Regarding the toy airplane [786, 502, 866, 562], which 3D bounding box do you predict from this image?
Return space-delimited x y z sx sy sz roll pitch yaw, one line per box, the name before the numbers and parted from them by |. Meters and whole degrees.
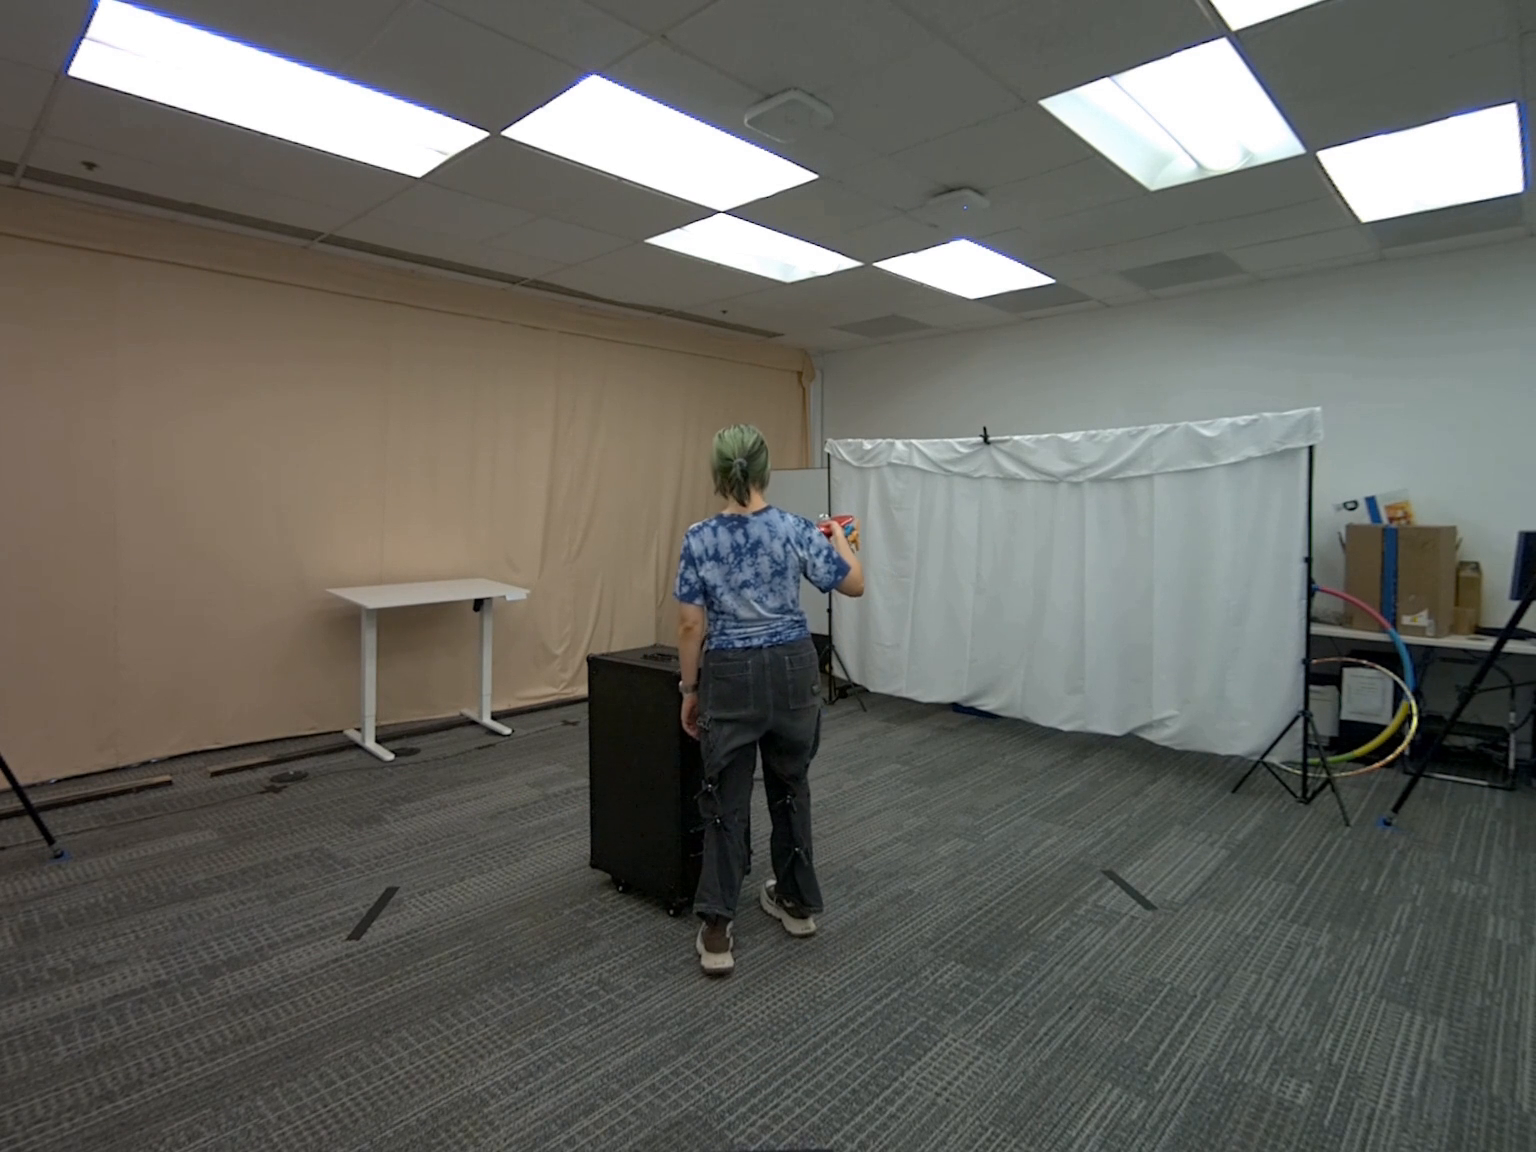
toy airplane | 0.190 -0.134 3.033 0.259 0.155 0.254 8 22 -2
